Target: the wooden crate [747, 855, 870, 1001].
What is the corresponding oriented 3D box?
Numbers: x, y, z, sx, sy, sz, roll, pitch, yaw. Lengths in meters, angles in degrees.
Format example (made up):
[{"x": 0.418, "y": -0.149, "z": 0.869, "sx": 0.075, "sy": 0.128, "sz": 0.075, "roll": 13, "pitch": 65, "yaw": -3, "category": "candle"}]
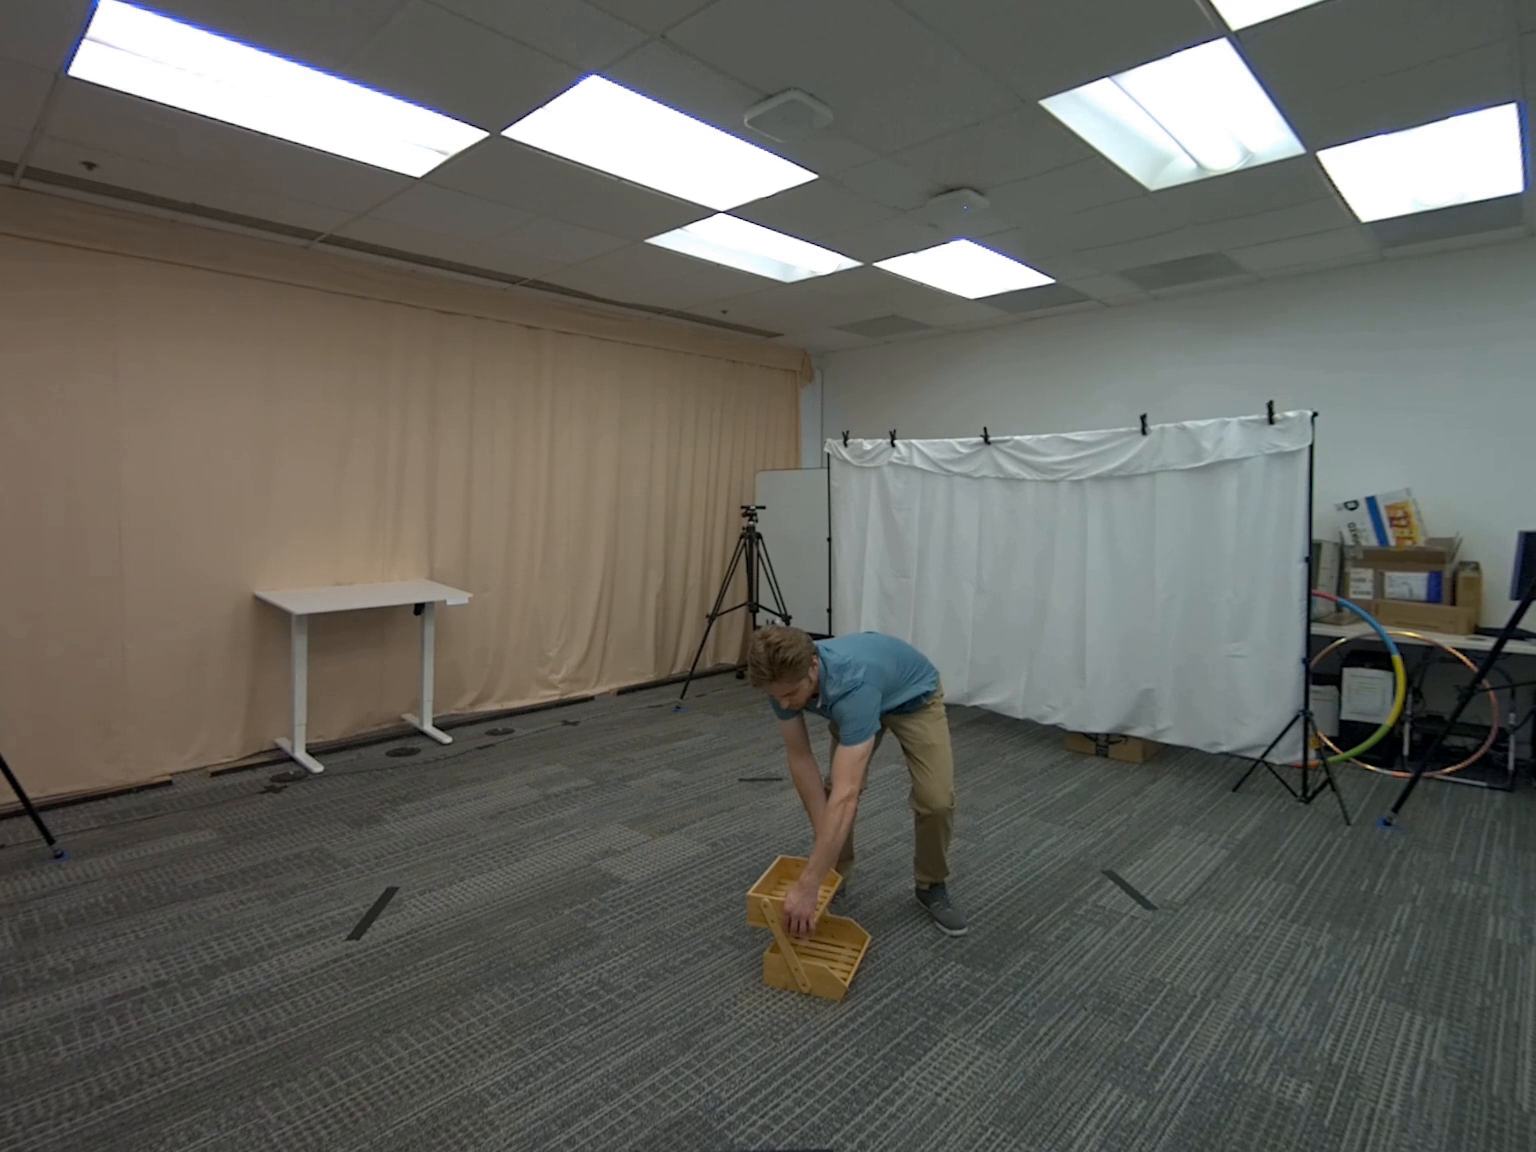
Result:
[{"x": 0.141, "y": 1.052, "z": 2.542, "sx": 0.309, "sy": 0.273, "sz": 0.318, "roll": 0, "pitch": 4, "yaw": 20, "category": "wooden crate"}]
